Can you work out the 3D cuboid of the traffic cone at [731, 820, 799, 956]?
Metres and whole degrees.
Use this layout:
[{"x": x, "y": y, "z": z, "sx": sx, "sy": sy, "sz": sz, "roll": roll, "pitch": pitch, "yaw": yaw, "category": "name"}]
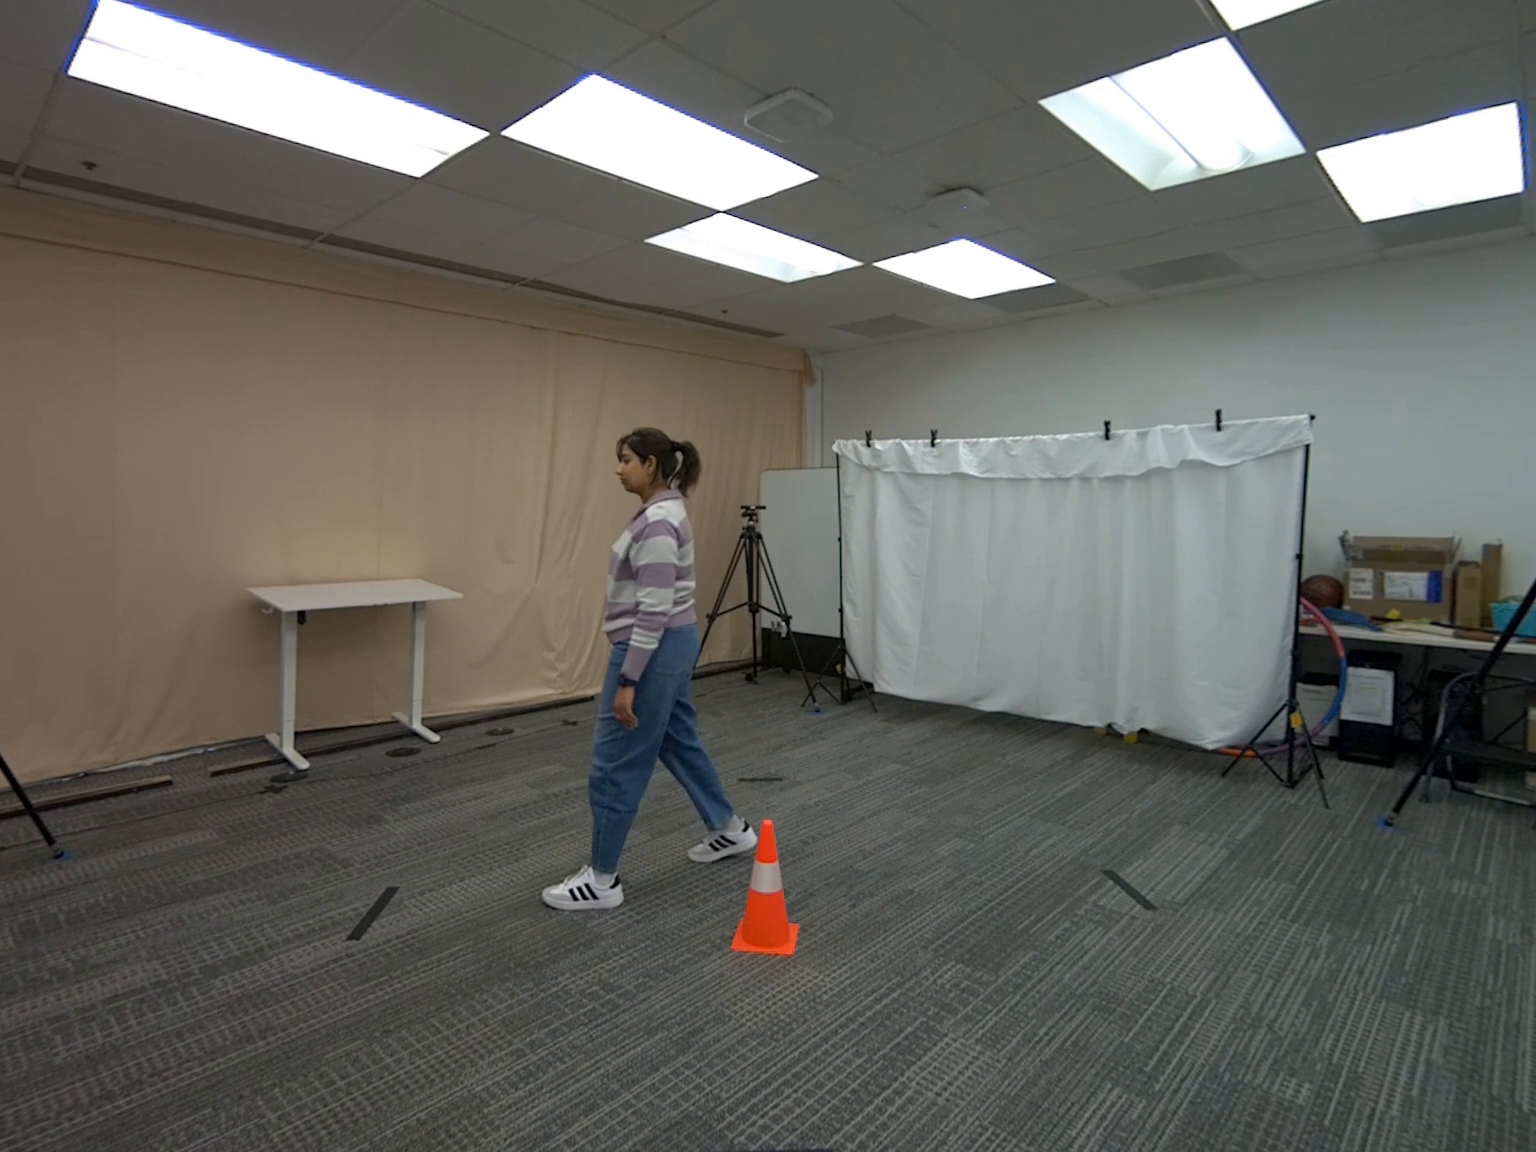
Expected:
[{"x": 0.000, "y": 0.982, "z": 2.707, "sx": 0.208, "sy": 0.383, "sz": 0.201, "roll": 2, "pitch": 4, "yaw": 11, "category": "traffic cone"}]
